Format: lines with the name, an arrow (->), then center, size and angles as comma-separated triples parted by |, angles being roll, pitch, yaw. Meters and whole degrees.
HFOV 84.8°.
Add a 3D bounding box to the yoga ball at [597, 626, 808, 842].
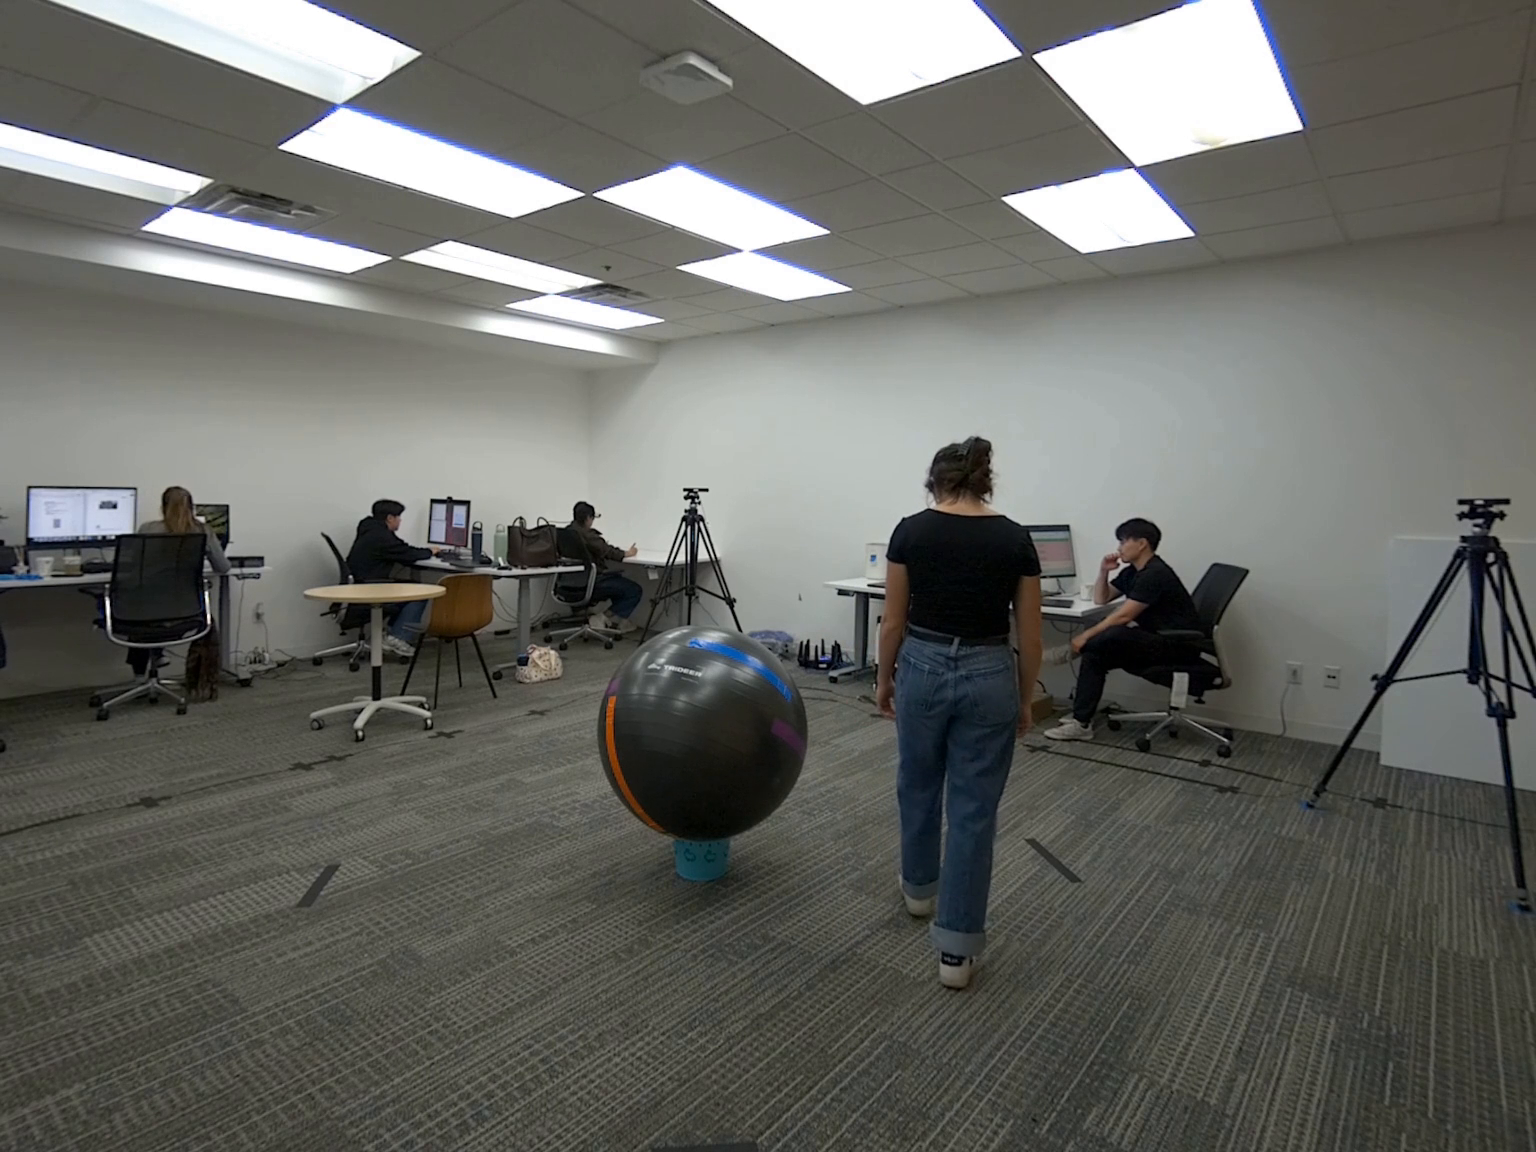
yoga ball -> -0.245, 0.553, 3.086 | 0.757, 0.756, 0.762 | 1, 4, -2
